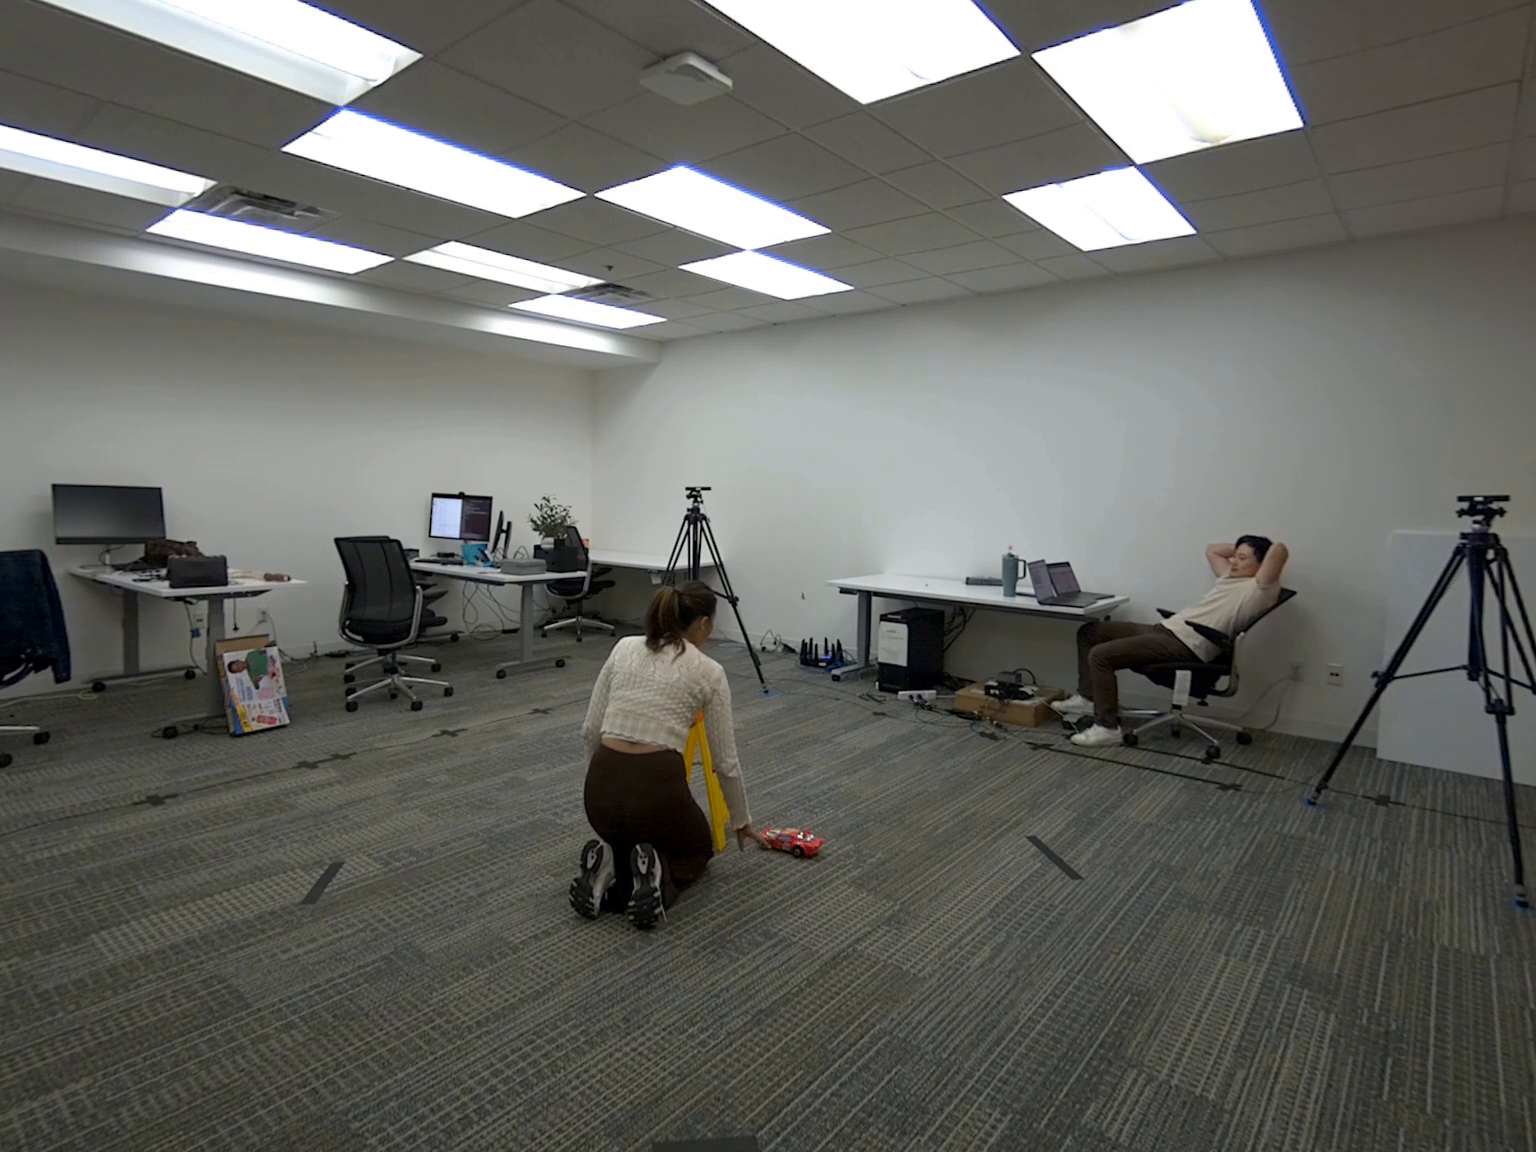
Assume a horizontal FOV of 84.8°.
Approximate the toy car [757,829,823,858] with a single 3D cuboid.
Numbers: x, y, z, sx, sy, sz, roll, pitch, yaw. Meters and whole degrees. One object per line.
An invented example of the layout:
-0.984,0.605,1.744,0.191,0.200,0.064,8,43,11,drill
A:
0.092,1.028,3.277,0.260,0.083,0.127,-8,0,30,toy car
